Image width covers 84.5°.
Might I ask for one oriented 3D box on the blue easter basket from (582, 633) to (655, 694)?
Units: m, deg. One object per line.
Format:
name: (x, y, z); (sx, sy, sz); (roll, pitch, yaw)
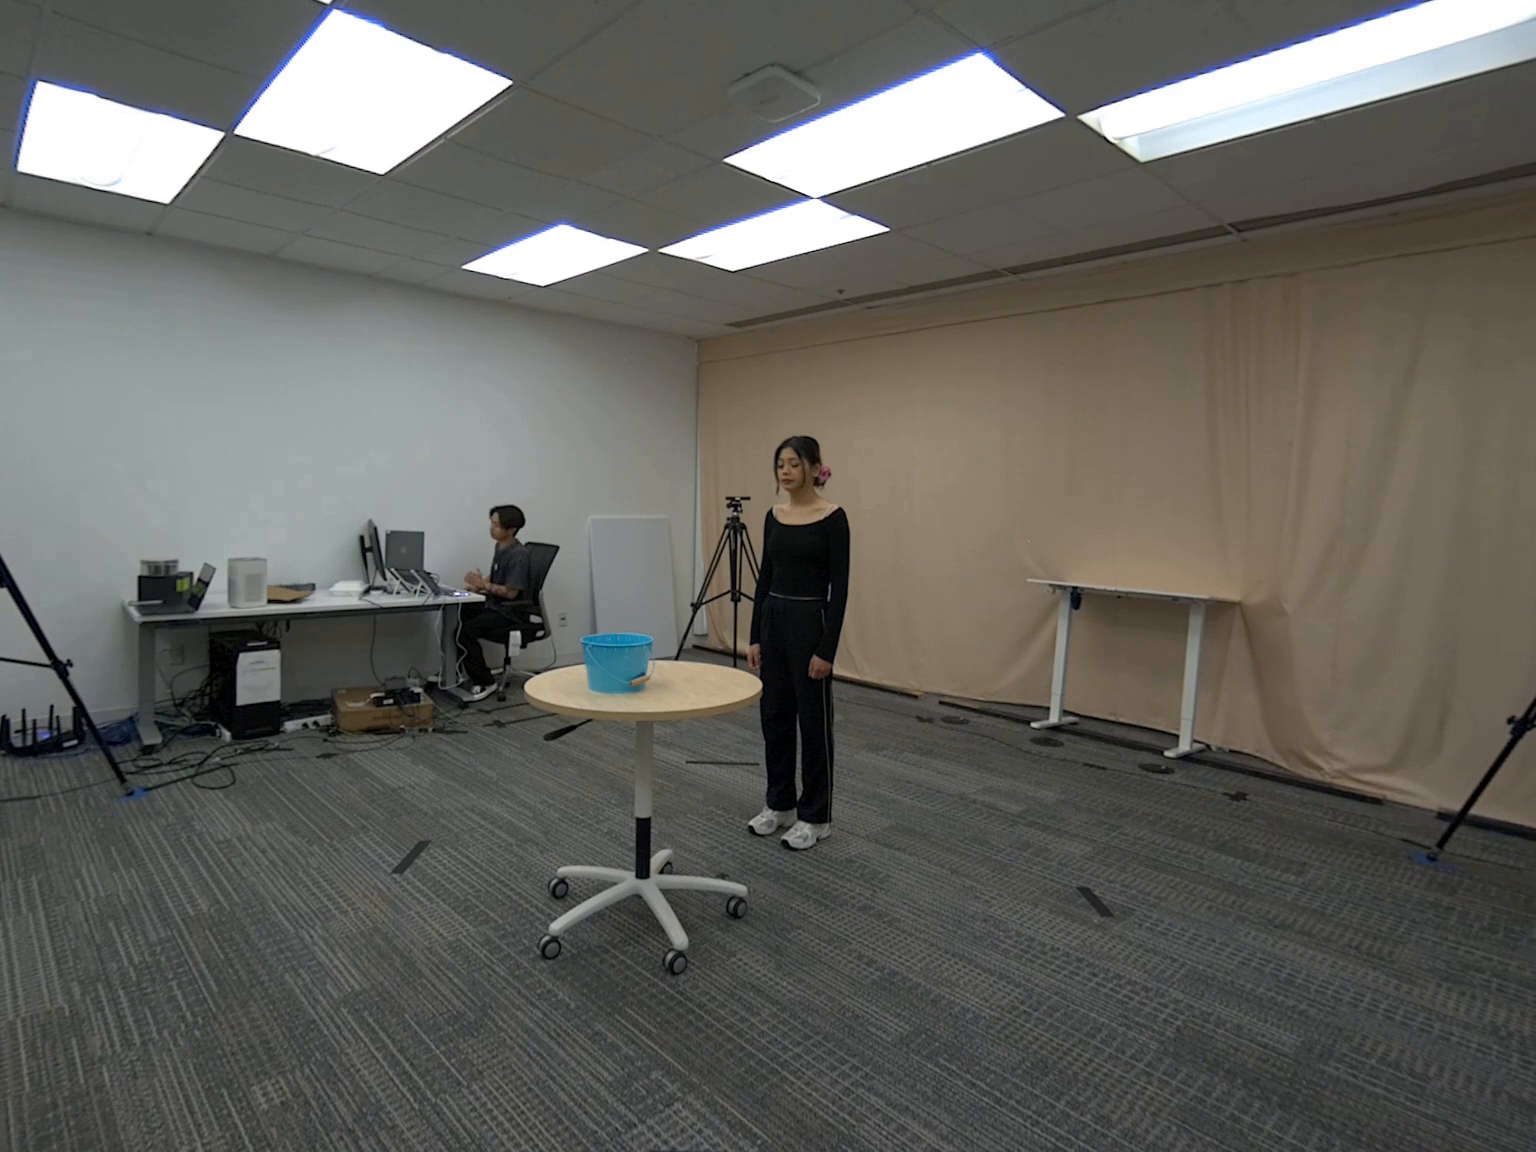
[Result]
blue easter basket: (-0.493, 0.286, 2.656); (0.243, 0.155, 0.244); (1, 4, -1)
